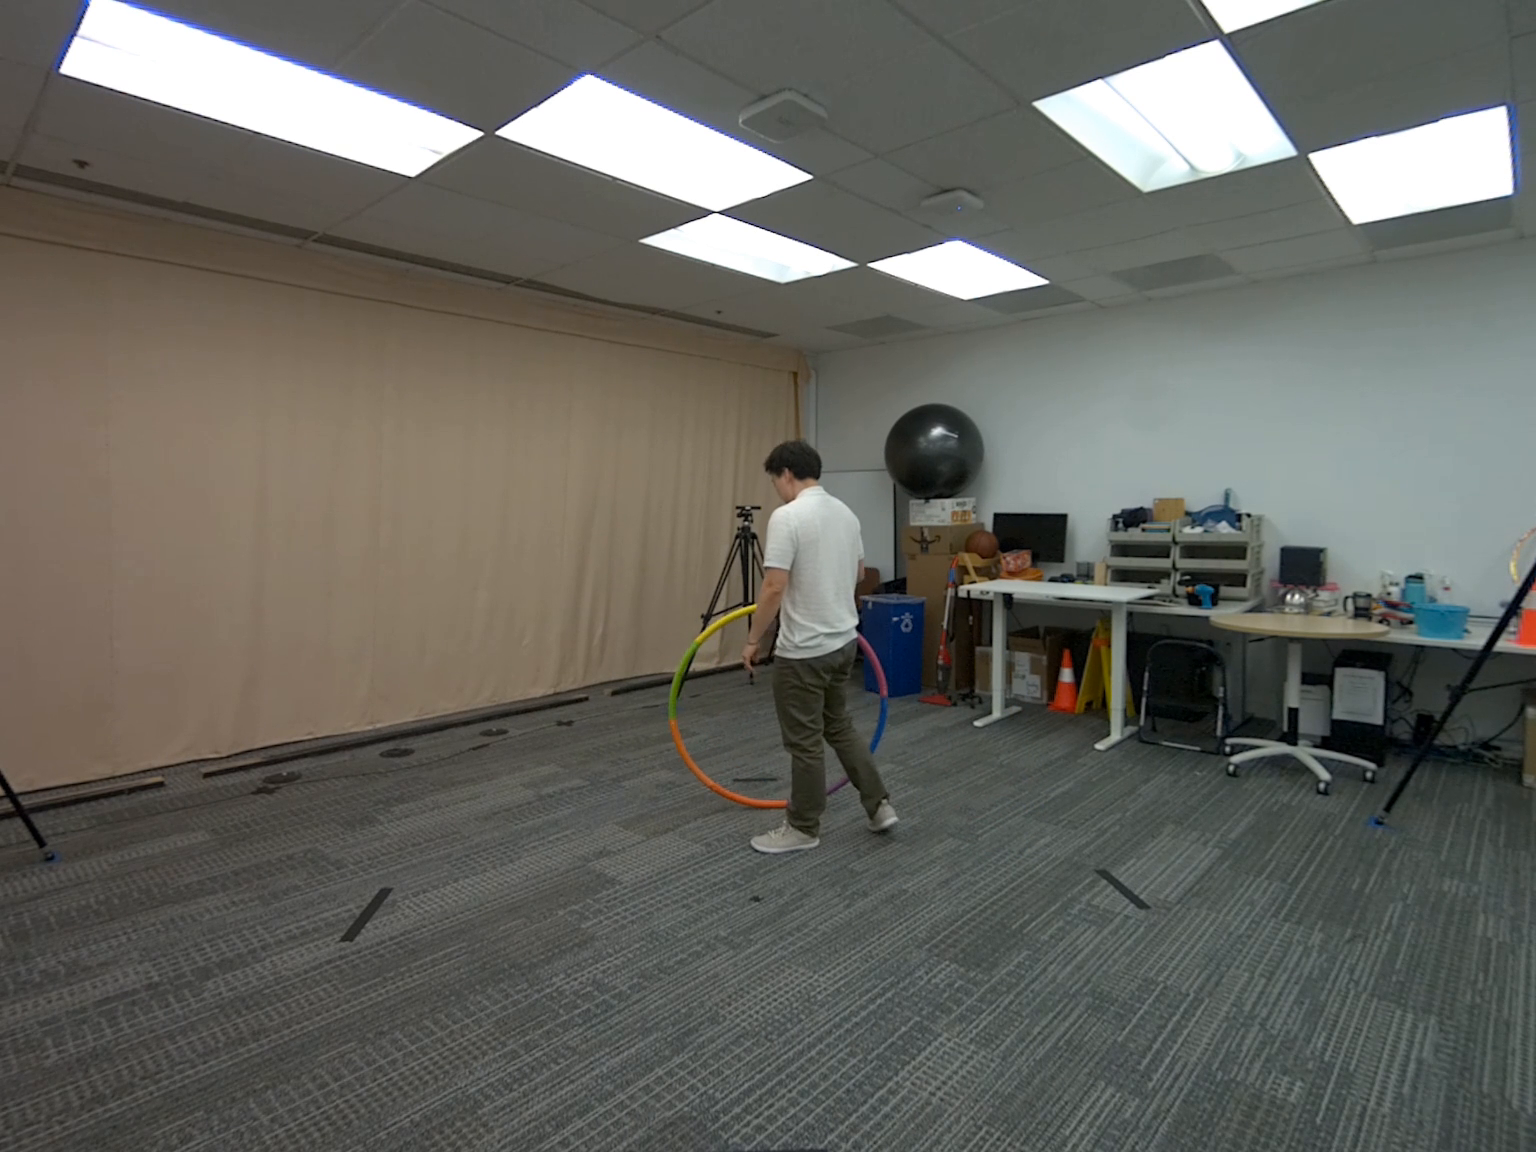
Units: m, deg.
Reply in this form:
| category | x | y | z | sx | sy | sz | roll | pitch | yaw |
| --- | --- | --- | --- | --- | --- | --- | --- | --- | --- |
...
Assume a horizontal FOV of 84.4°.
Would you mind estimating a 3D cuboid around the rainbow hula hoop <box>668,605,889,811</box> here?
| category | x | y | z | sx | sy | sz | roll | pitch | yaw |
| --- | --- | --- | --- | --- | --- | --- | --- | --- | --- |
| rainbow hula hoop | 0.047 | 0.596 | 3.829 | 0.974 | 0.973 | 0.036 | 0 | 8 | -4 |
